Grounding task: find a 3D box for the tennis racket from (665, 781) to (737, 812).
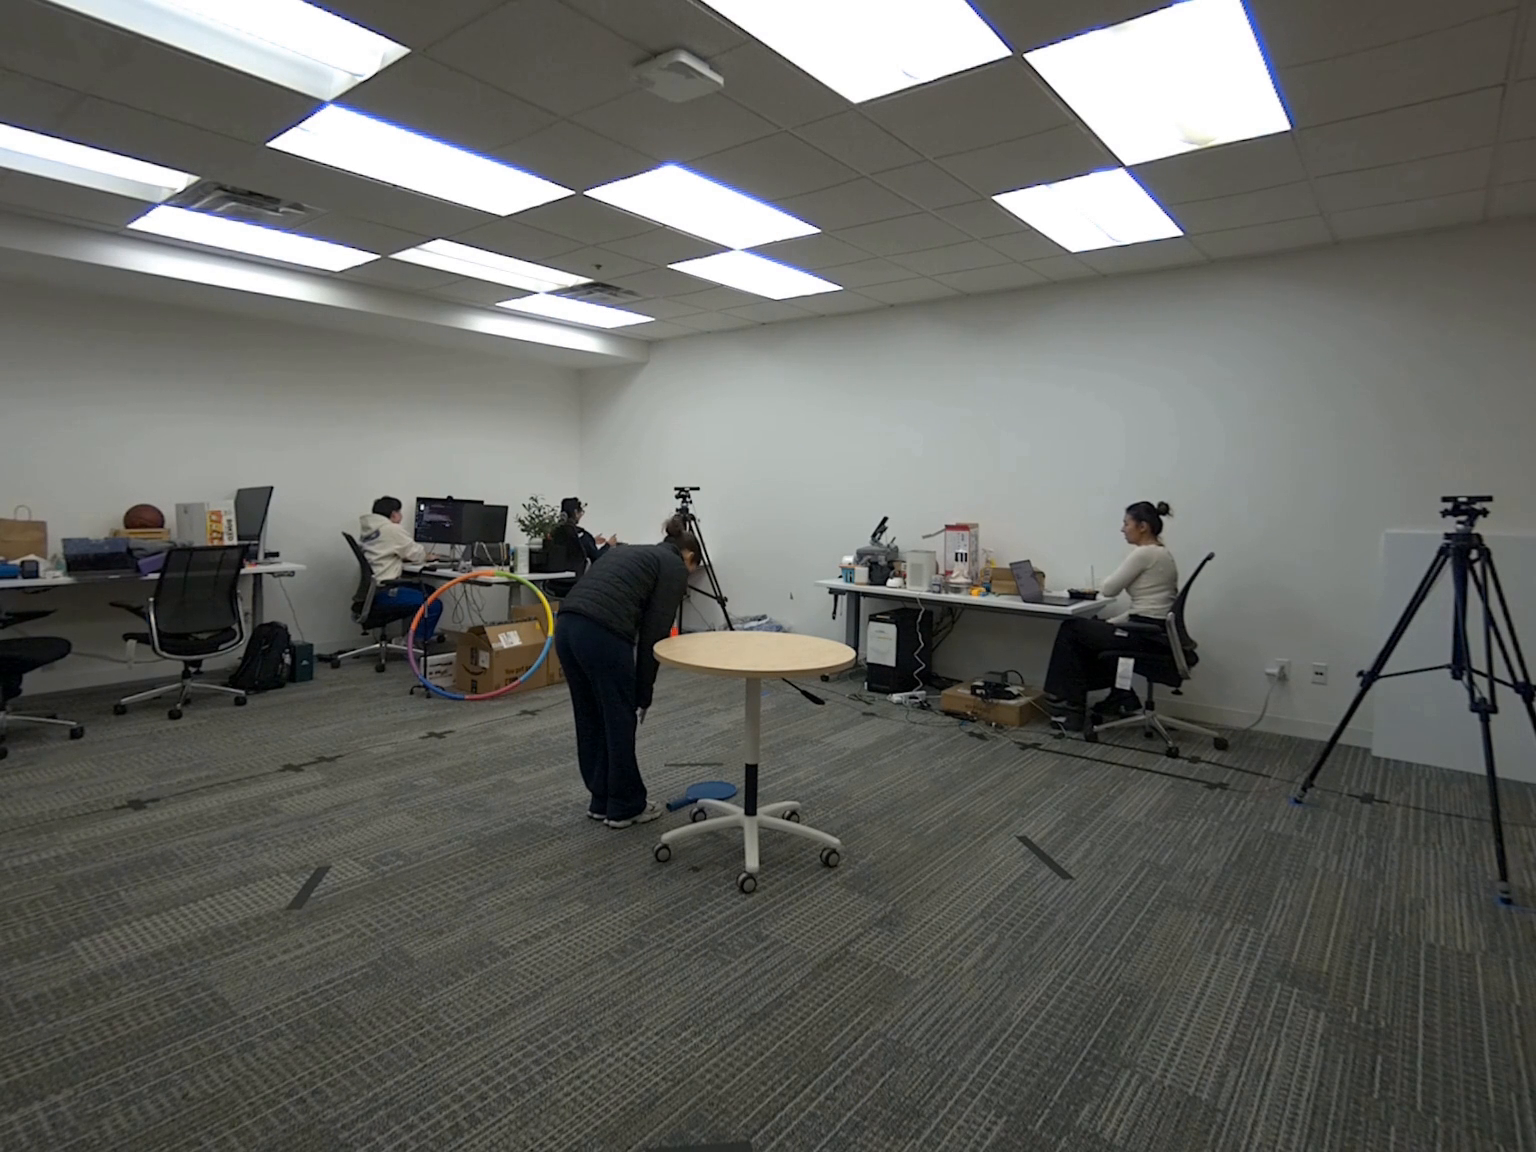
[{"bbox_3d":[-0.288,0.978,3.840,0.221,0.031,0.420,6,6,39],"label":"tennis racket"}]
